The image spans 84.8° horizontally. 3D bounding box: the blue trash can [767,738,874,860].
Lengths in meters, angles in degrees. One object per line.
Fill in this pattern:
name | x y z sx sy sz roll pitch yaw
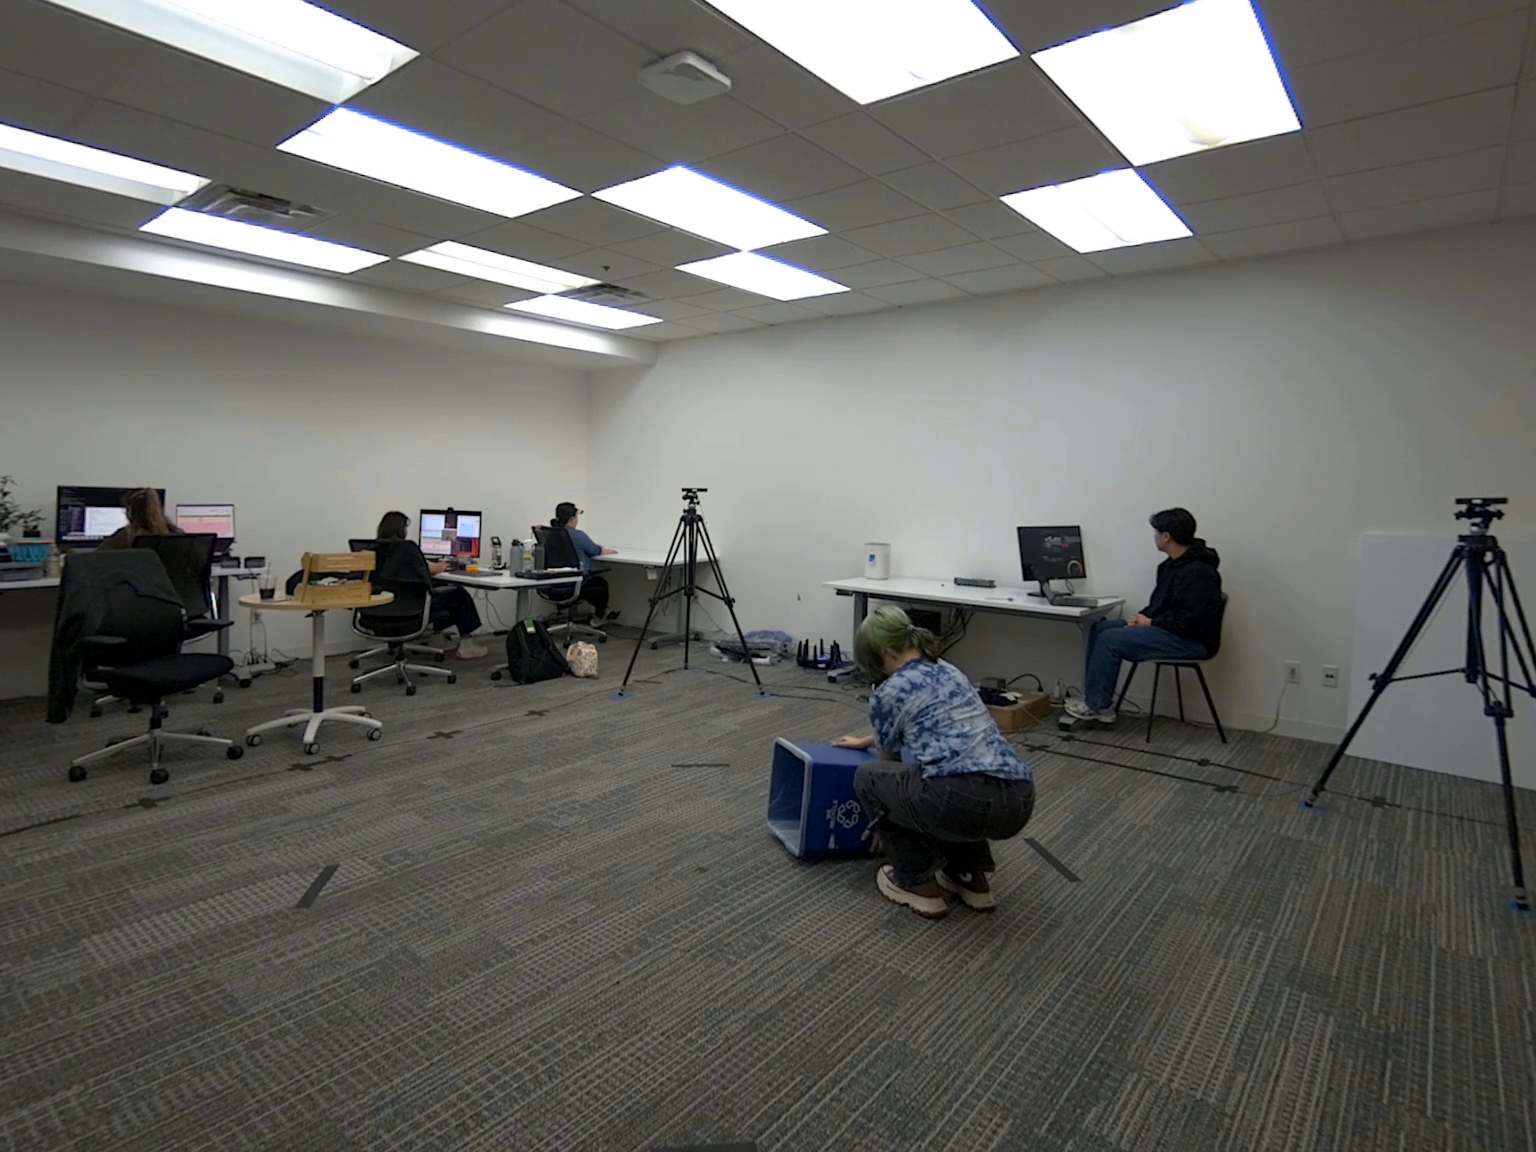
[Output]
blue trash can | 0.386 0.861 3.383 0.700 0.374 0.385 4 1 -17
